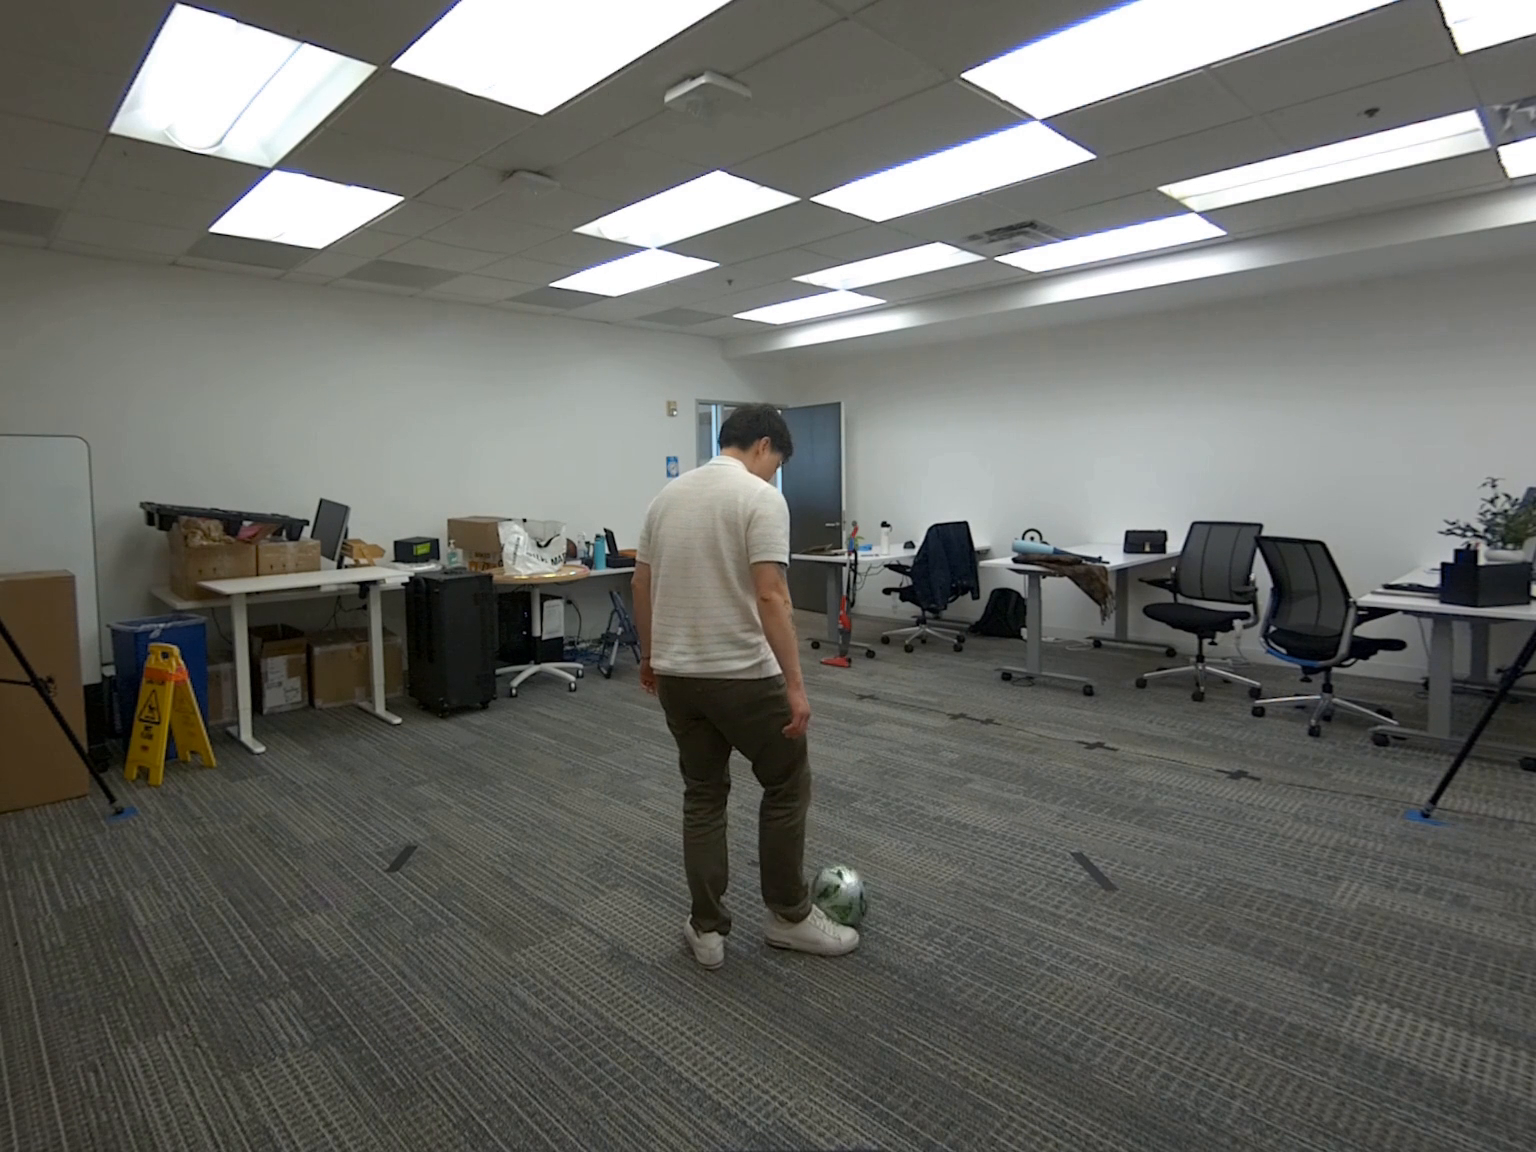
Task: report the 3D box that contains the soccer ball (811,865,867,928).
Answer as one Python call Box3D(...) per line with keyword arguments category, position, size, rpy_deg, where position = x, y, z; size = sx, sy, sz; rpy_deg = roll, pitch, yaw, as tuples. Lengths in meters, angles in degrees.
Box3D(category="soccer ball", position=(0.229, 0.997, 2.659), size=(0.187, 0.187, 0.188), rpy_deg=(-1, 5, -2))
